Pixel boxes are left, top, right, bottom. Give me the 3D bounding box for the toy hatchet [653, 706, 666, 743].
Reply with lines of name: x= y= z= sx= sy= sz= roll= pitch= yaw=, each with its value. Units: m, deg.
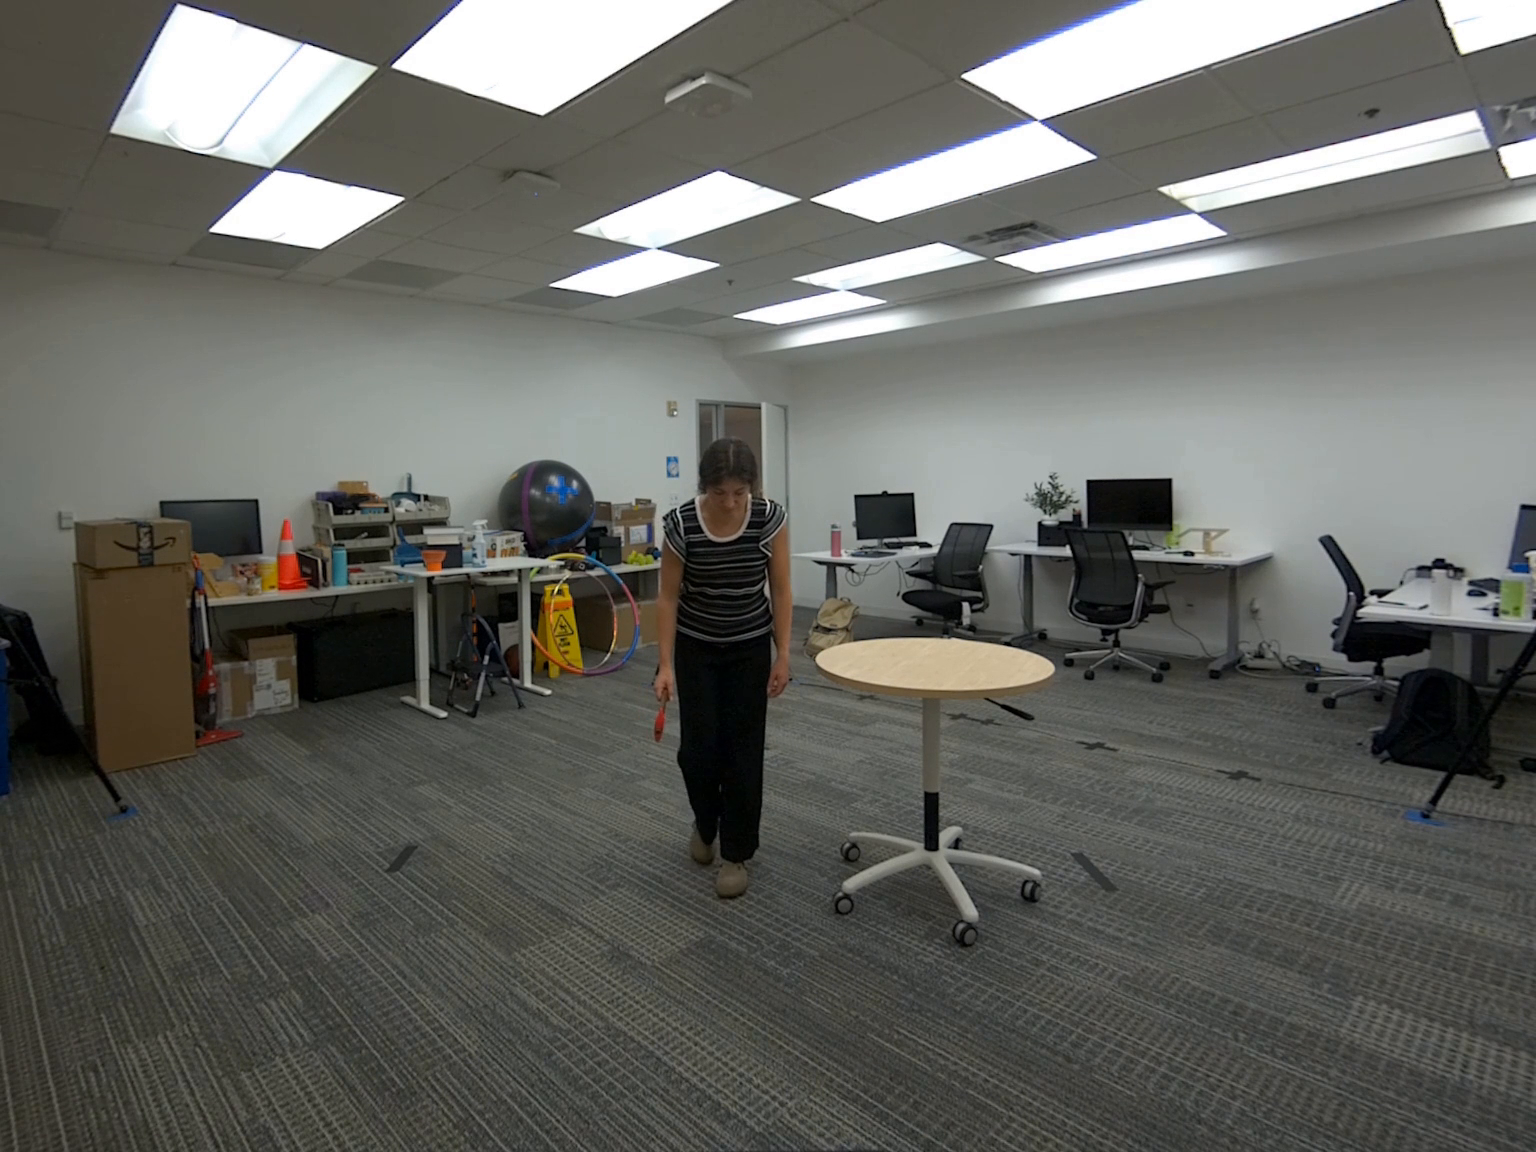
toy hatchet: x=-0.342 y=0.445 z=2.758 sx=0.030 sy=0.130 sz=0.271 roll=11 pitch=14 yaw=2
